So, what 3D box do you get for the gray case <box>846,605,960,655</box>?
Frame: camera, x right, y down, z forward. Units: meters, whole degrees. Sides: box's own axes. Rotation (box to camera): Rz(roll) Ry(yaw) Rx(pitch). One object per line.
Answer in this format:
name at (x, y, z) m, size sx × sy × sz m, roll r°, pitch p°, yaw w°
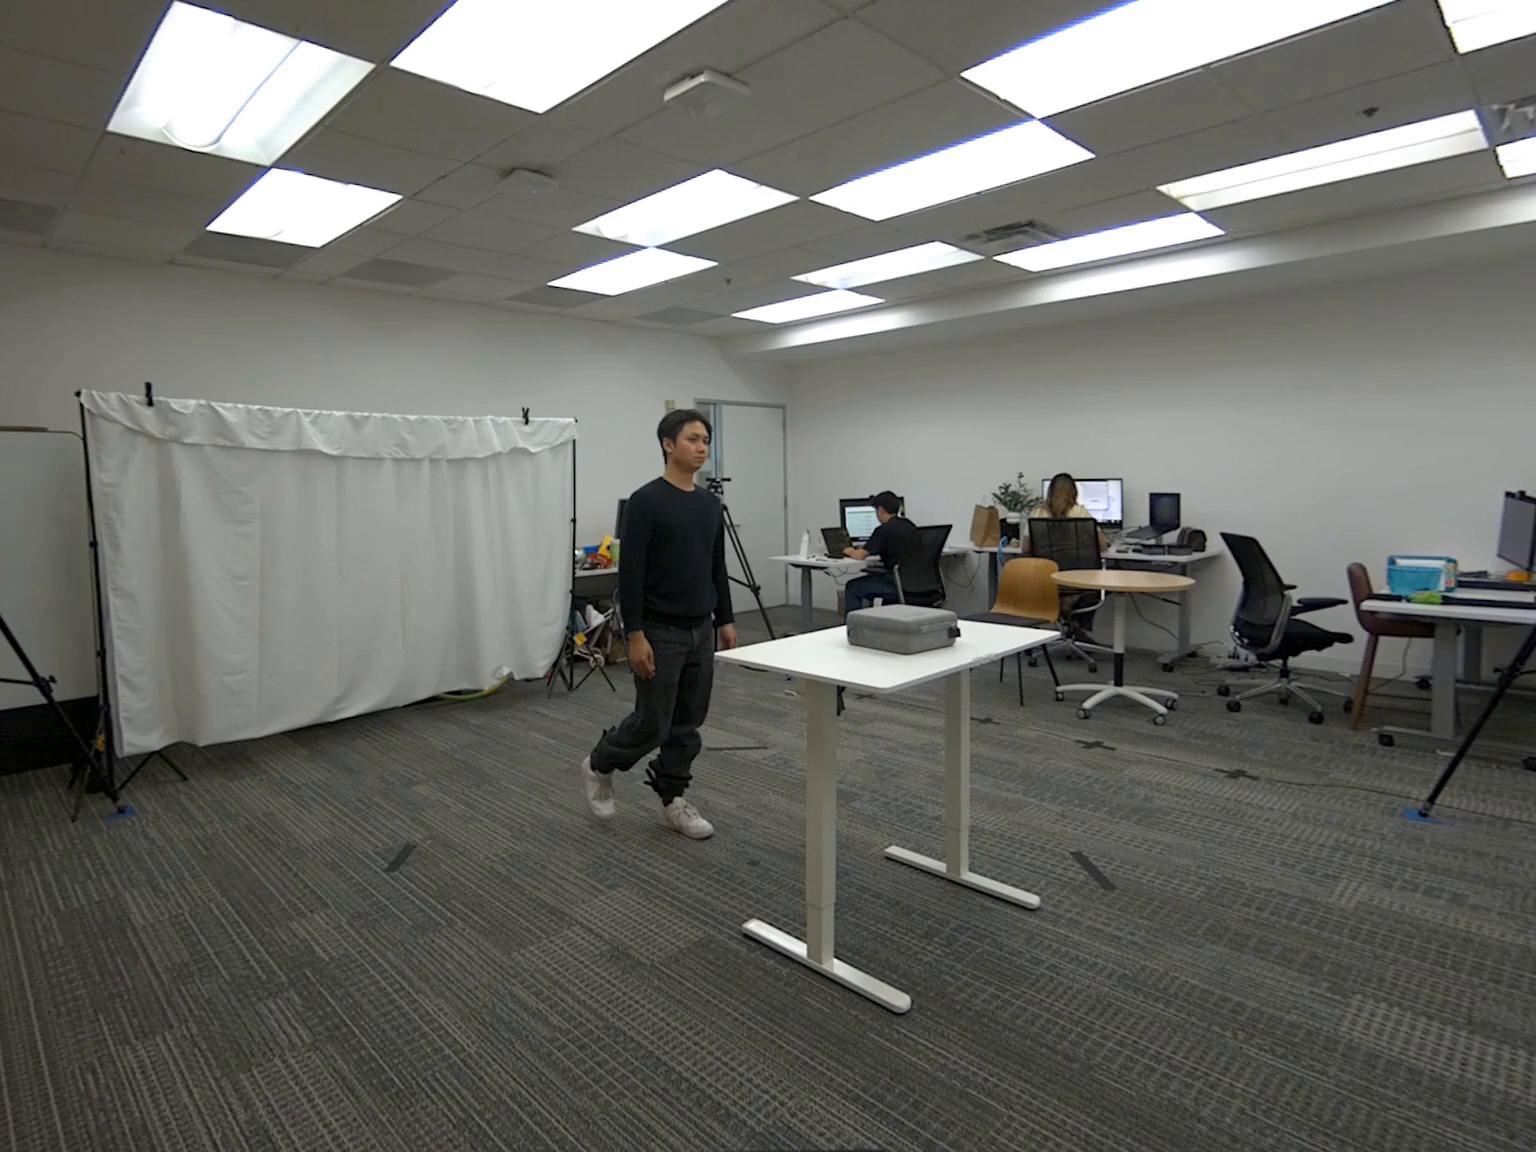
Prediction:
gray case at (0.410, 0.159, 2.593) m, size 0.250 × 0.104 × 0.269 m, roll -7°, pitch 8°, yaw -41°
